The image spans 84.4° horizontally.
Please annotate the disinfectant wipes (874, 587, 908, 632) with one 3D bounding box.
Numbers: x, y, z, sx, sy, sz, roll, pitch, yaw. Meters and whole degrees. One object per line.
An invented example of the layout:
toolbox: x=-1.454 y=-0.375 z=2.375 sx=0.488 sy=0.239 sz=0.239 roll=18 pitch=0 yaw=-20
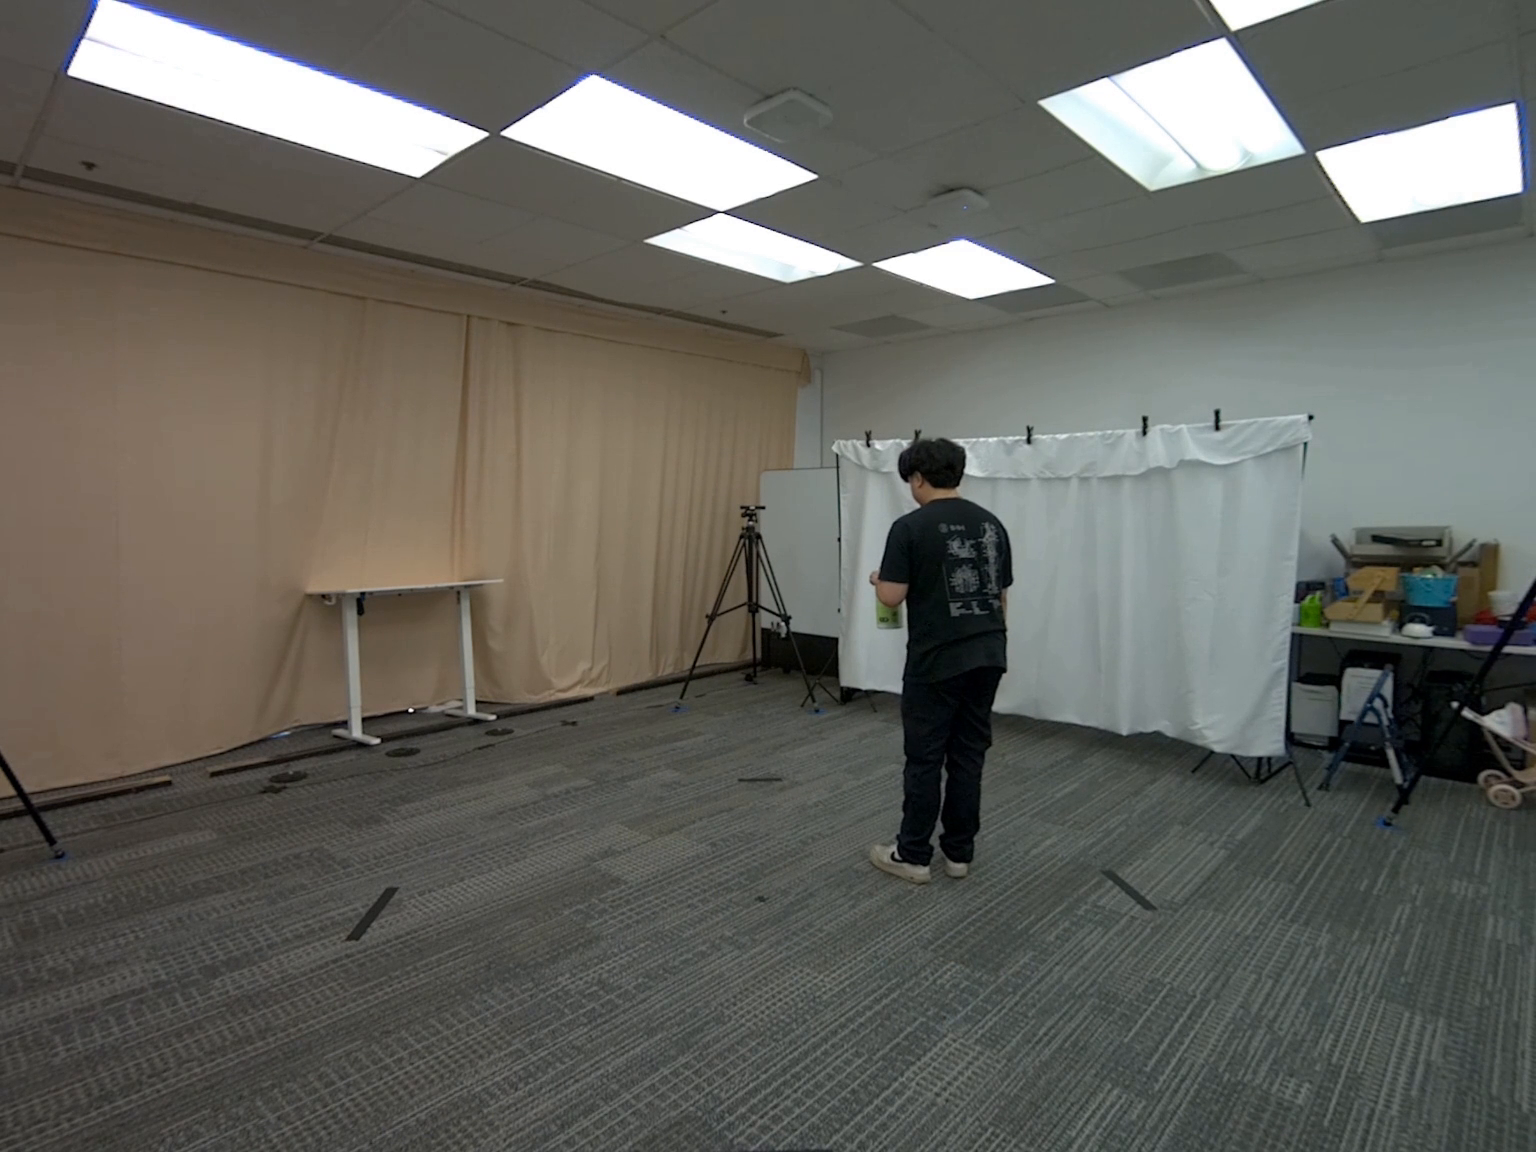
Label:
disinfectant wipes: x=0.505 y=0.108 z=3.458 sx=0.118 sy=0.217 sz=0.118 roll=-2 pitch=0 yaw=-2
